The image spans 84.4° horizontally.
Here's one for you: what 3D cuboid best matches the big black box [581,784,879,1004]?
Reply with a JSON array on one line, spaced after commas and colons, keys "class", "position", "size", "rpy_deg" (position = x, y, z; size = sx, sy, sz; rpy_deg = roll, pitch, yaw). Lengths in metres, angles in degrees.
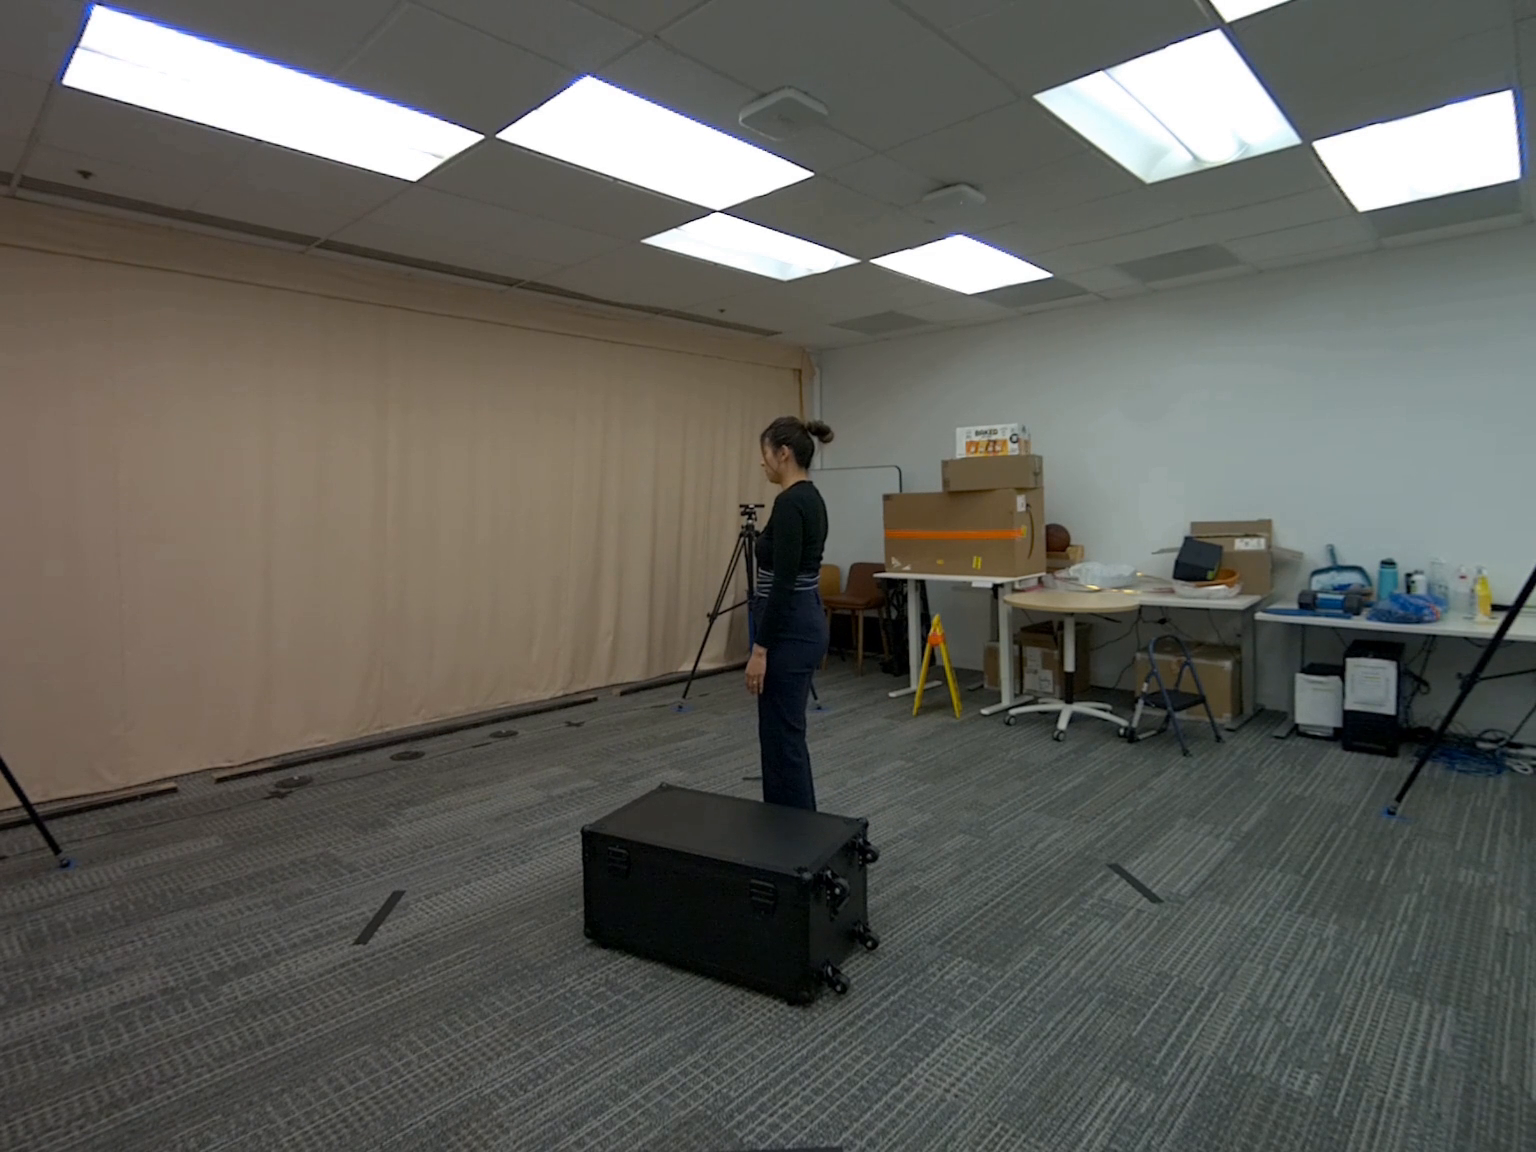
[{"class": "big black box", "position": [-0.102, 0.979, 2.674], "size": [0.885, 0.395, 0.508], "rpy_deg": [1, 4, 28]}]
